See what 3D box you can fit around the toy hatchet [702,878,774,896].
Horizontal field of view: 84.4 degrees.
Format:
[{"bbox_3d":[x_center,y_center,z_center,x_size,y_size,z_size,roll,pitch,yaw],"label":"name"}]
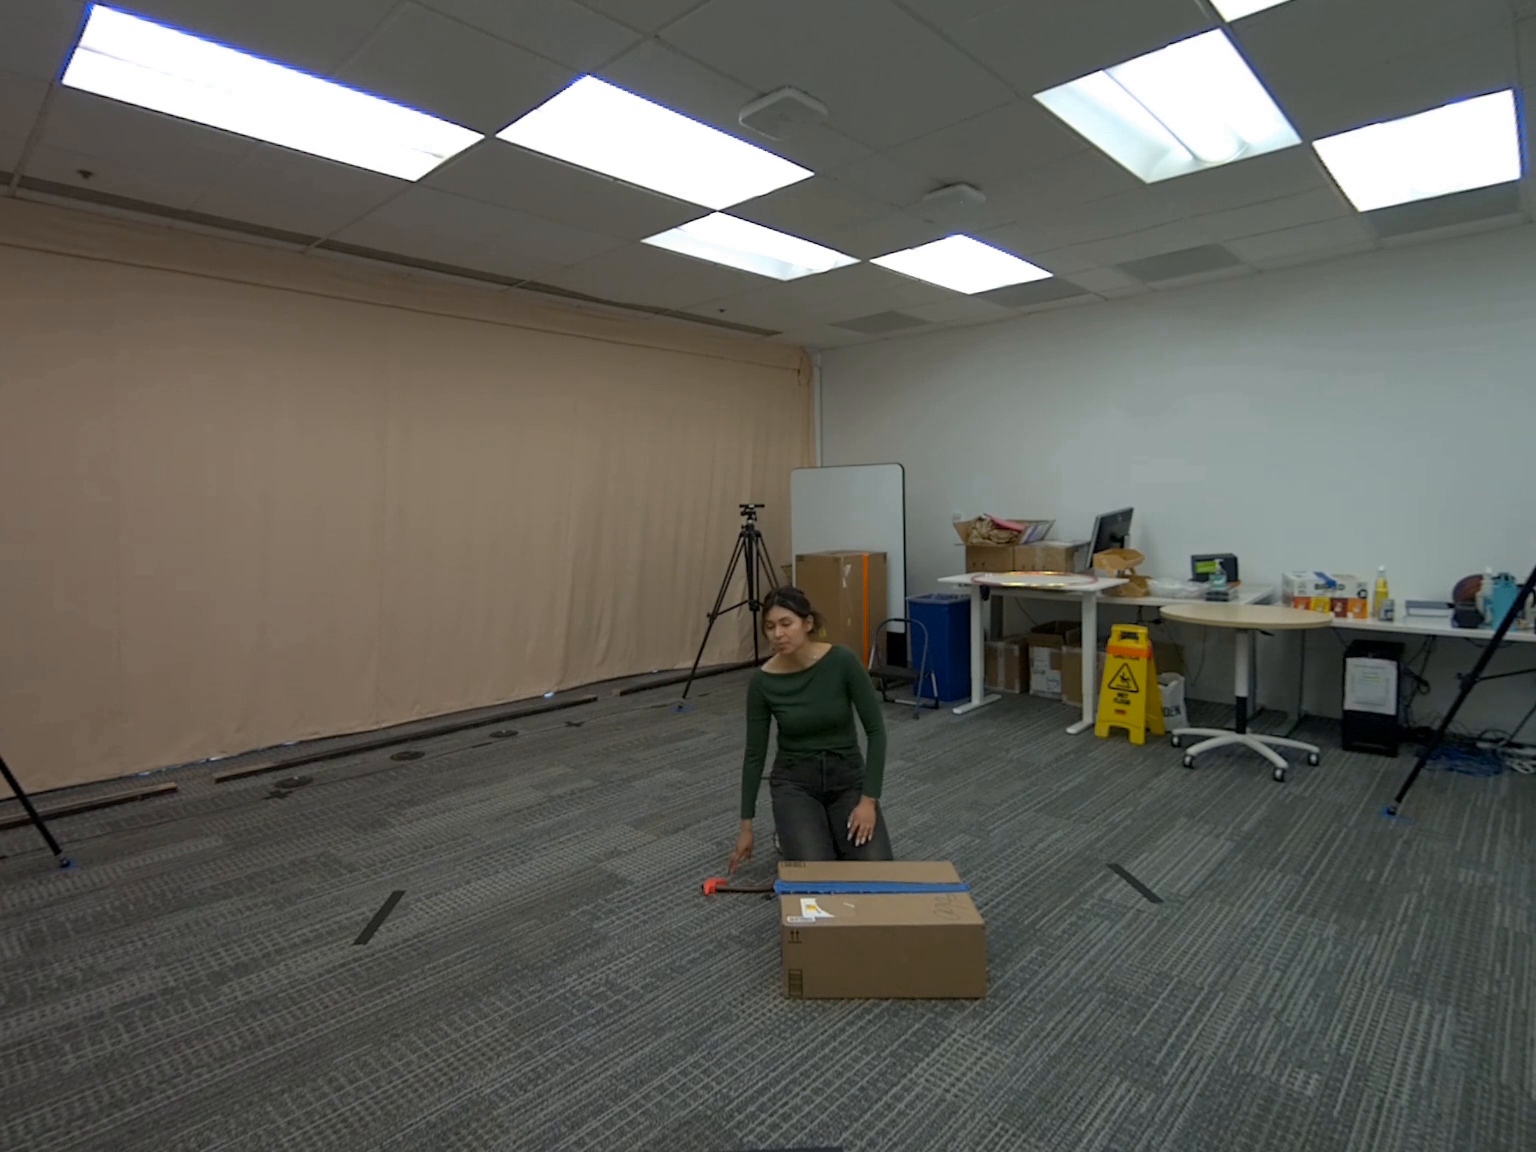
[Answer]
[{"bbox_3d":[-0.105,1.123,3.070,0.267,0.029,0.132,1,1,-11],"label":"toy hatchet"}]
